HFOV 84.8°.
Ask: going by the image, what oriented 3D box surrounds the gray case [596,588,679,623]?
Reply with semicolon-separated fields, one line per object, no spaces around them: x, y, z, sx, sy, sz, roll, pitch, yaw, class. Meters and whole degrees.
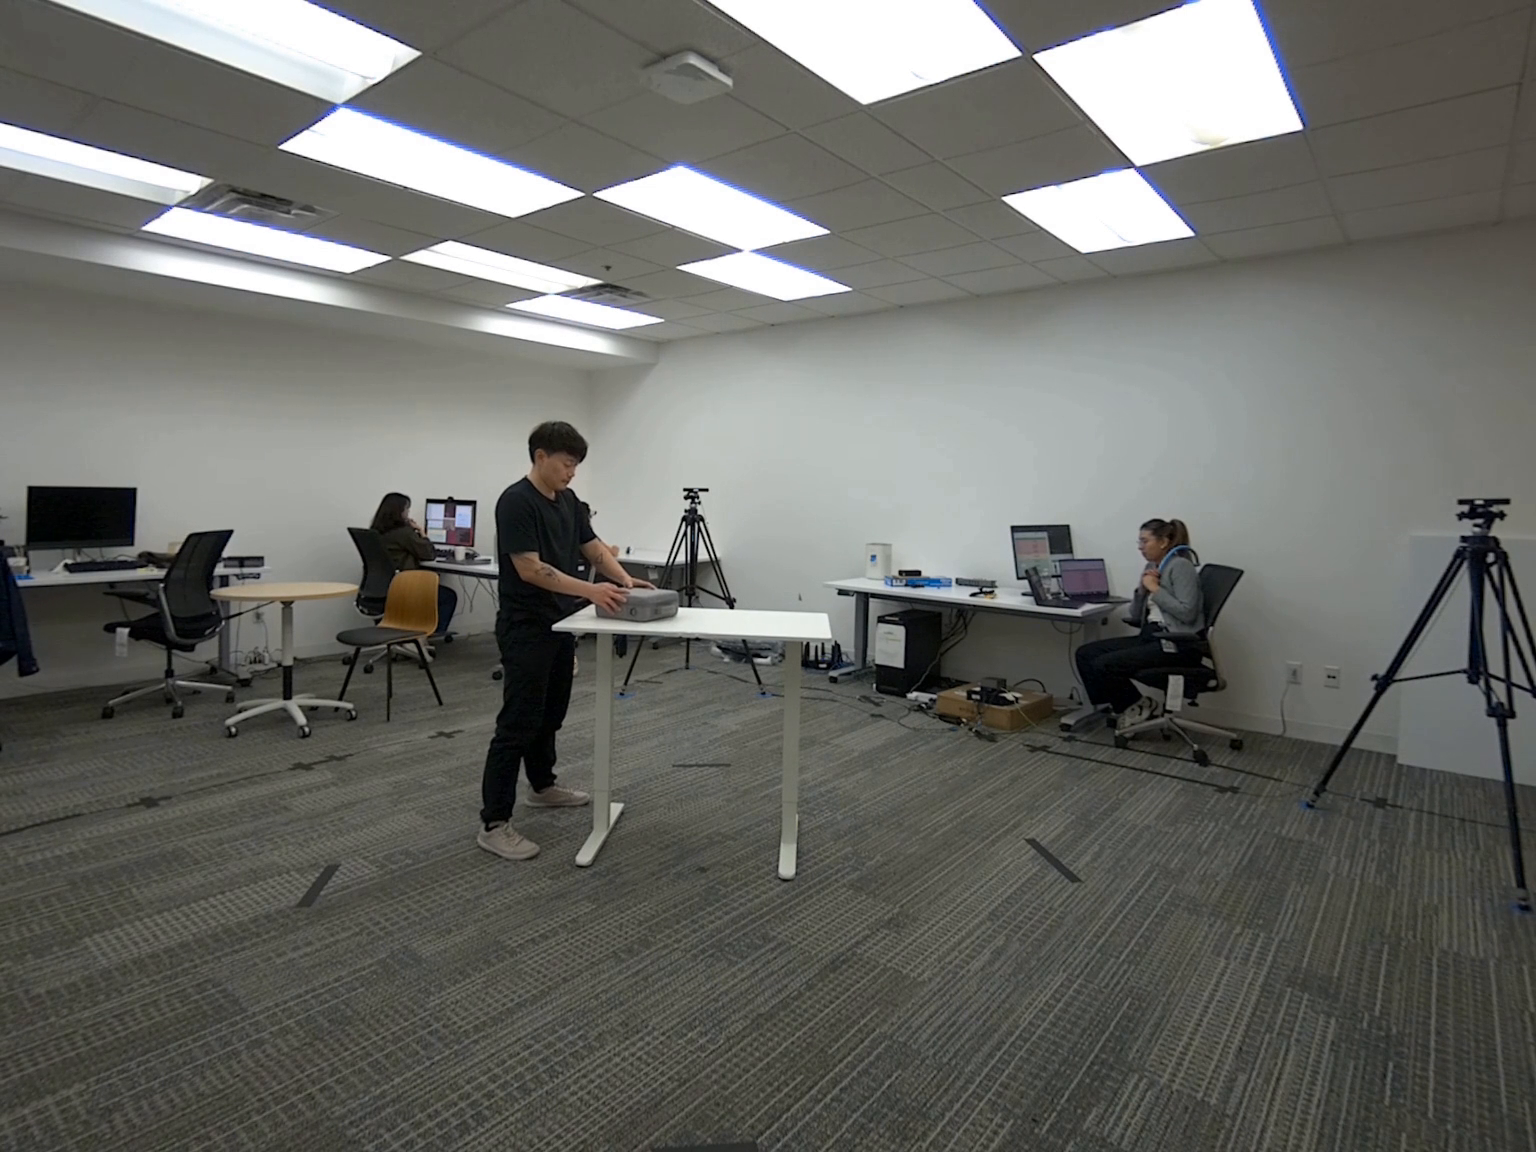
-0.518;0.109;3.344;0.268;0.104;0.250;4;4;30;gray case
